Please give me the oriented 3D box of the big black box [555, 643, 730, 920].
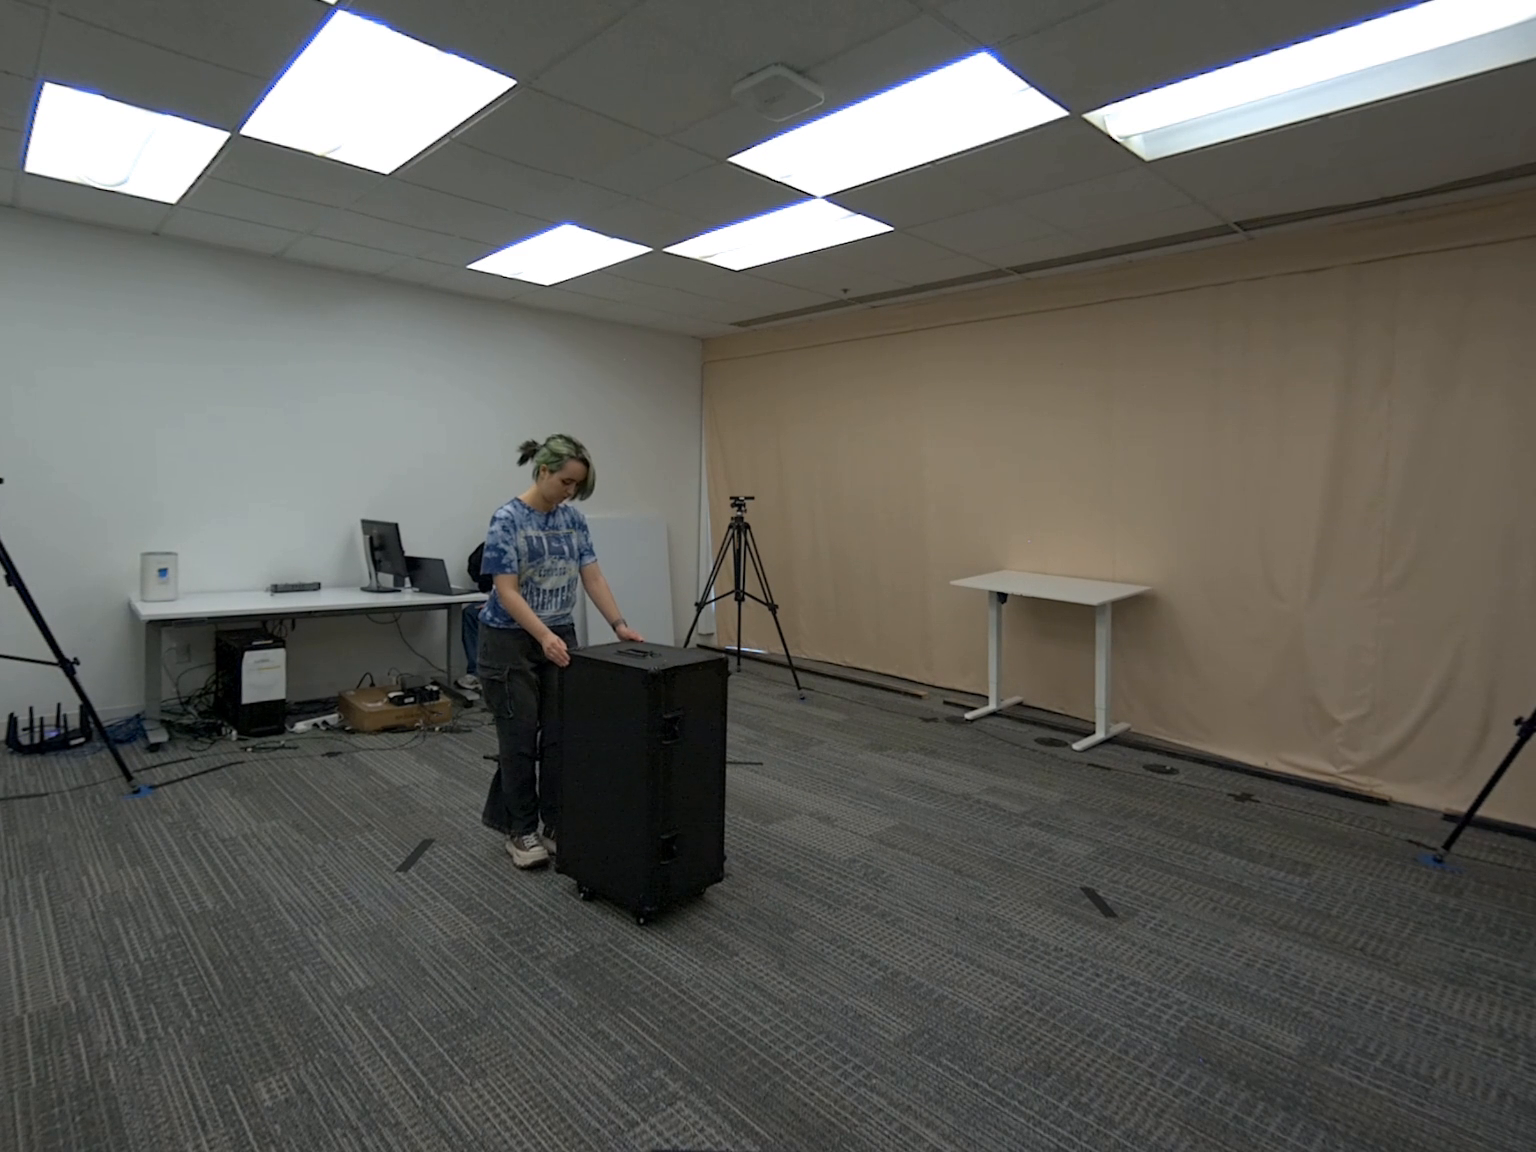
[{"bbox_3d":[-0.440,0.693,2.910,0.534,0.860,0.387,3,3,39],"label":"big black box"}]
